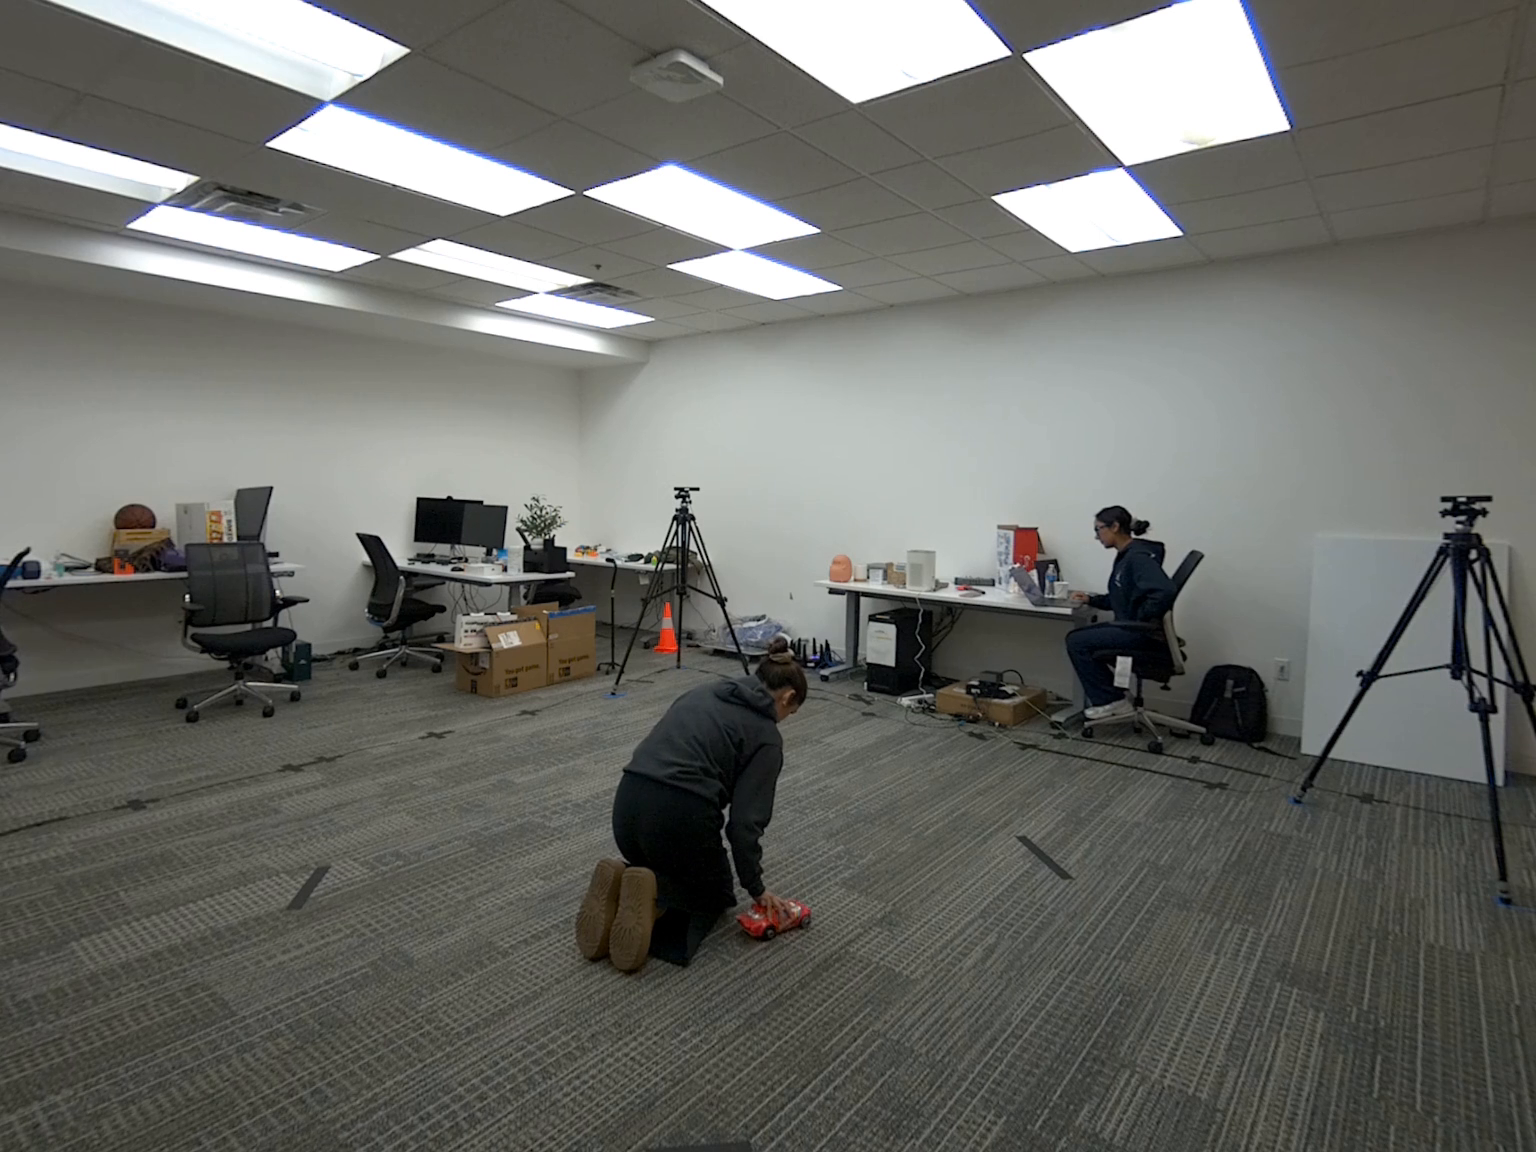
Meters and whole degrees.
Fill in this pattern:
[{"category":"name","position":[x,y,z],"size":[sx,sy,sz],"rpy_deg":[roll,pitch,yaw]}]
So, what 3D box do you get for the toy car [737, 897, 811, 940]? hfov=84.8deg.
[{"category":"toy car","position":[0.020,1.085,2.684],"size":[0.246,0.083,0.134],"rpy_deg":[12,-1,-34]}]
